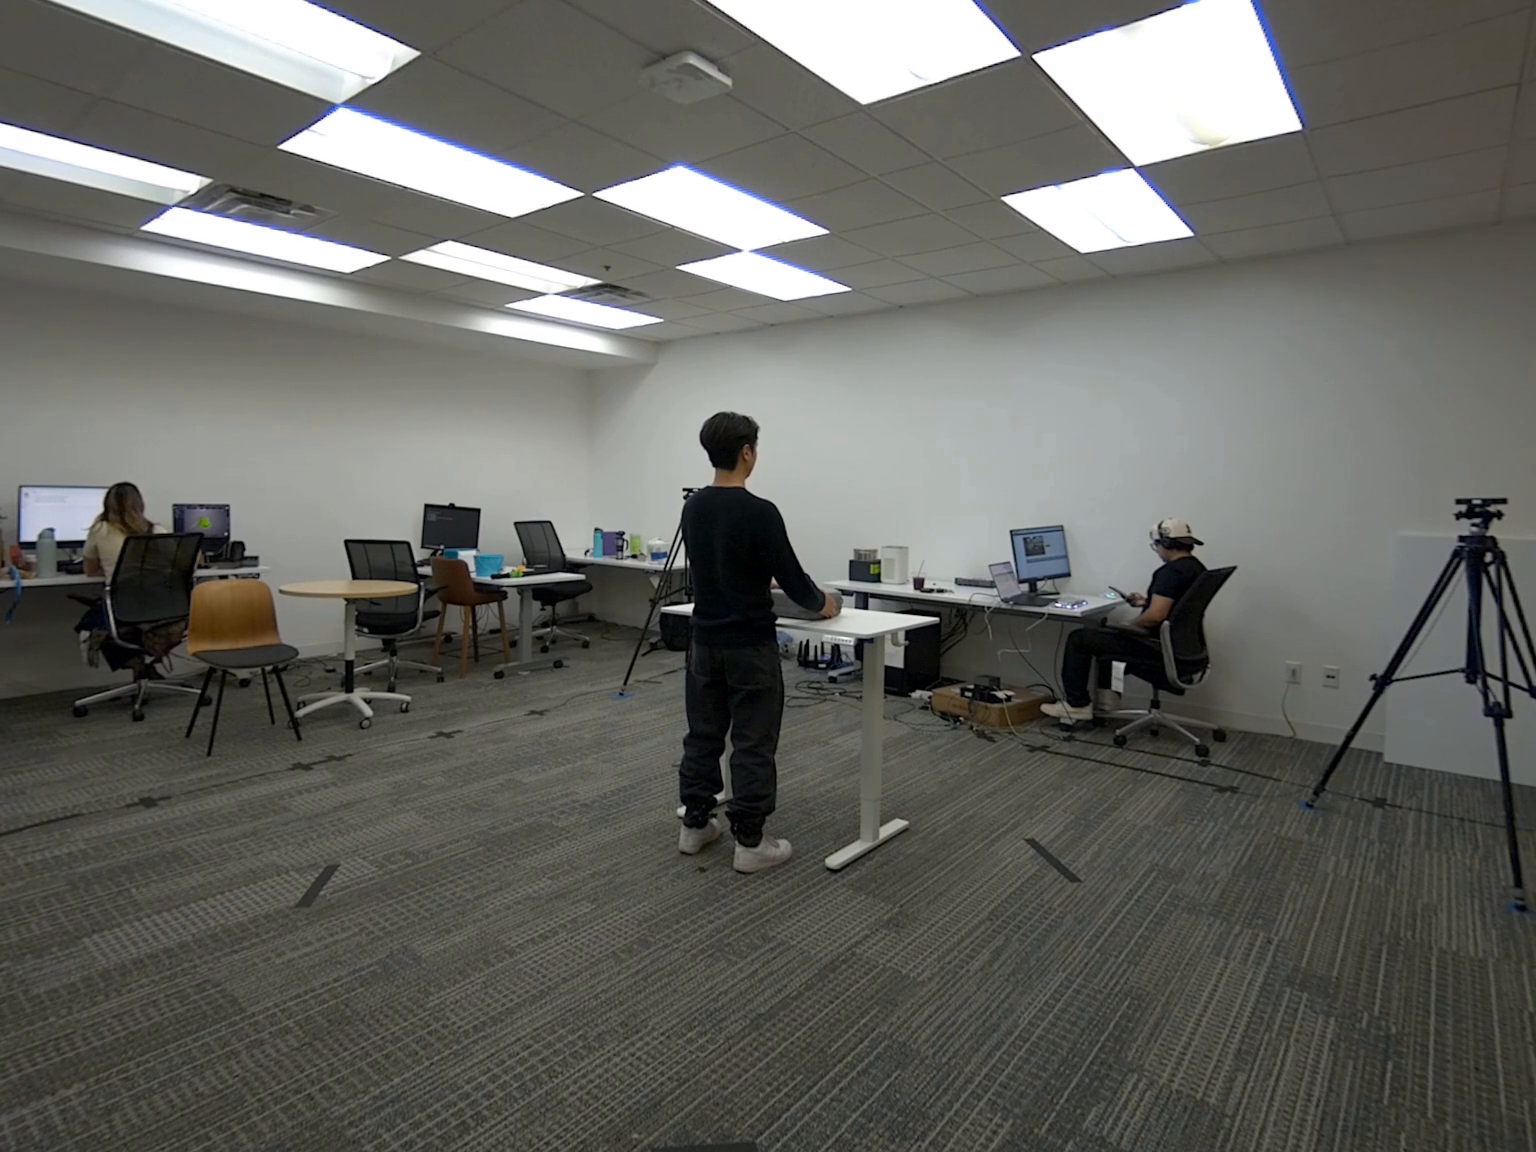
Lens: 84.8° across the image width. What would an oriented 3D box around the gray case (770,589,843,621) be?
[{"bbox_3d":[0.140,0.106,3.481,0.265,0.104,0.253,2,4,35],"label":"gray case"}]
